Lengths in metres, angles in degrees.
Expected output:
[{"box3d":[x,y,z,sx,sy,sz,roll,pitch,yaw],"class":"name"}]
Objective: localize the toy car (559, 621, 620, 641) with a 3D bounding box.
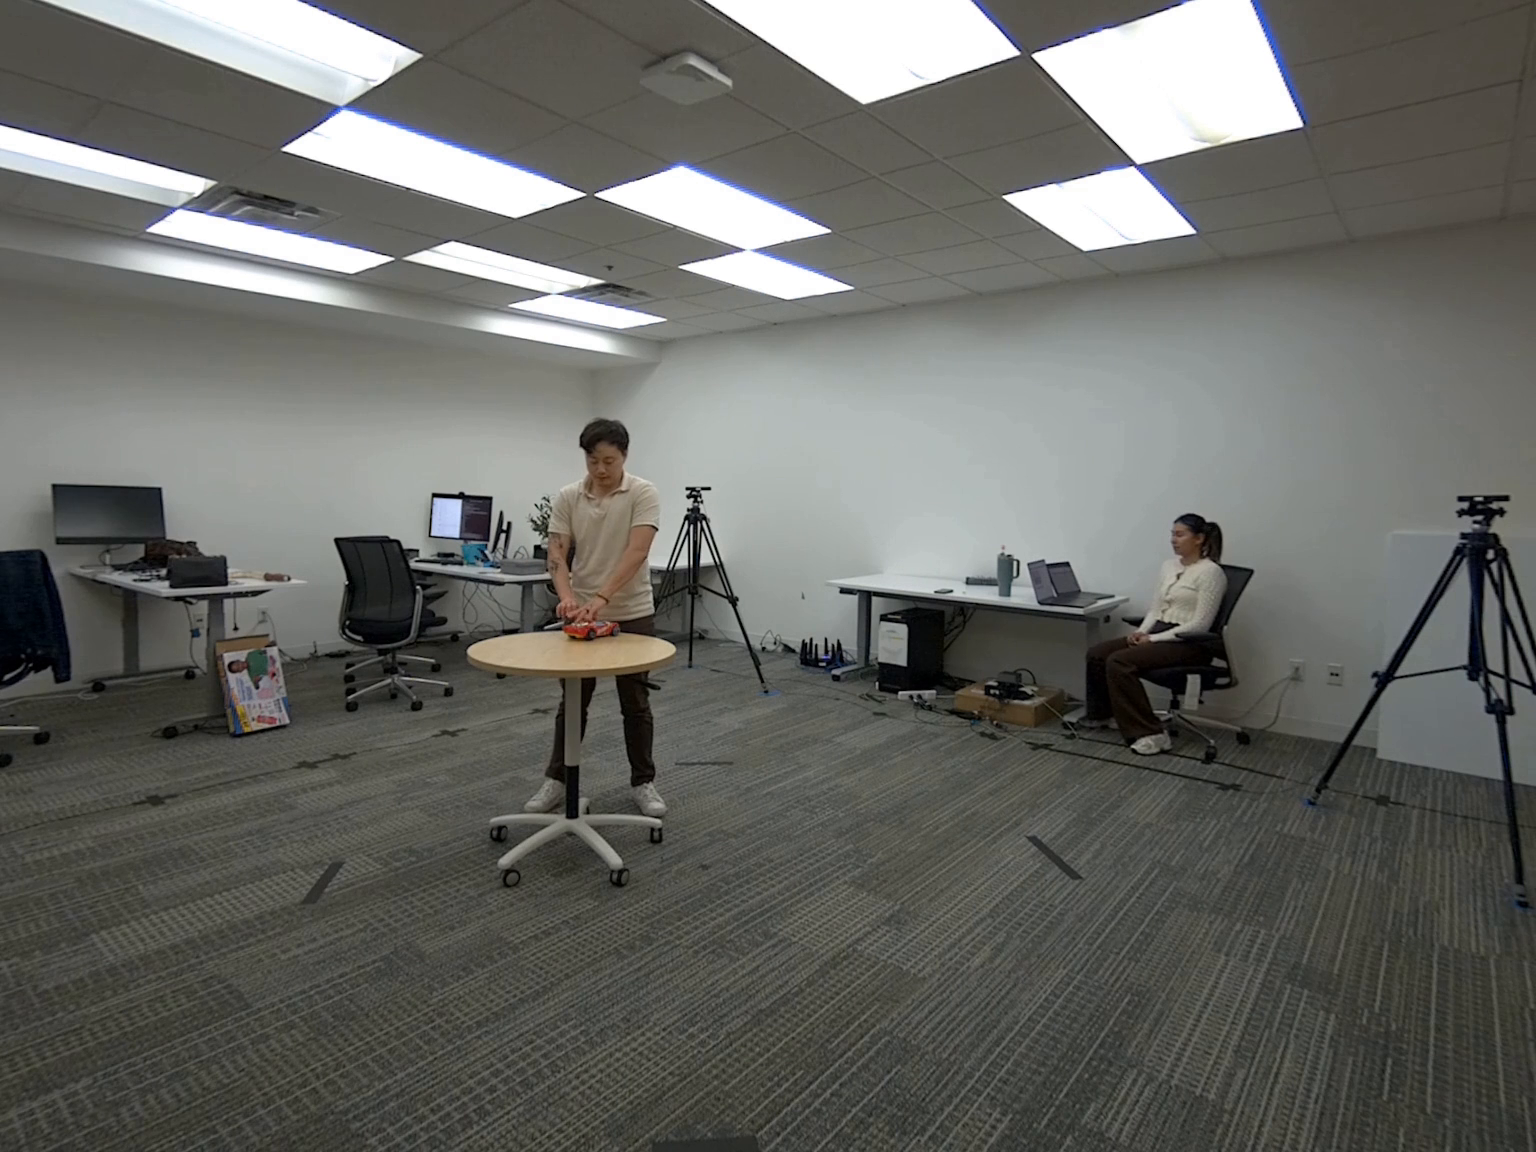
[{"box3d":[-0.730,0.214,3.411,0.134,0.083,0.245,3,-5,33],"class":"toy car"}]
